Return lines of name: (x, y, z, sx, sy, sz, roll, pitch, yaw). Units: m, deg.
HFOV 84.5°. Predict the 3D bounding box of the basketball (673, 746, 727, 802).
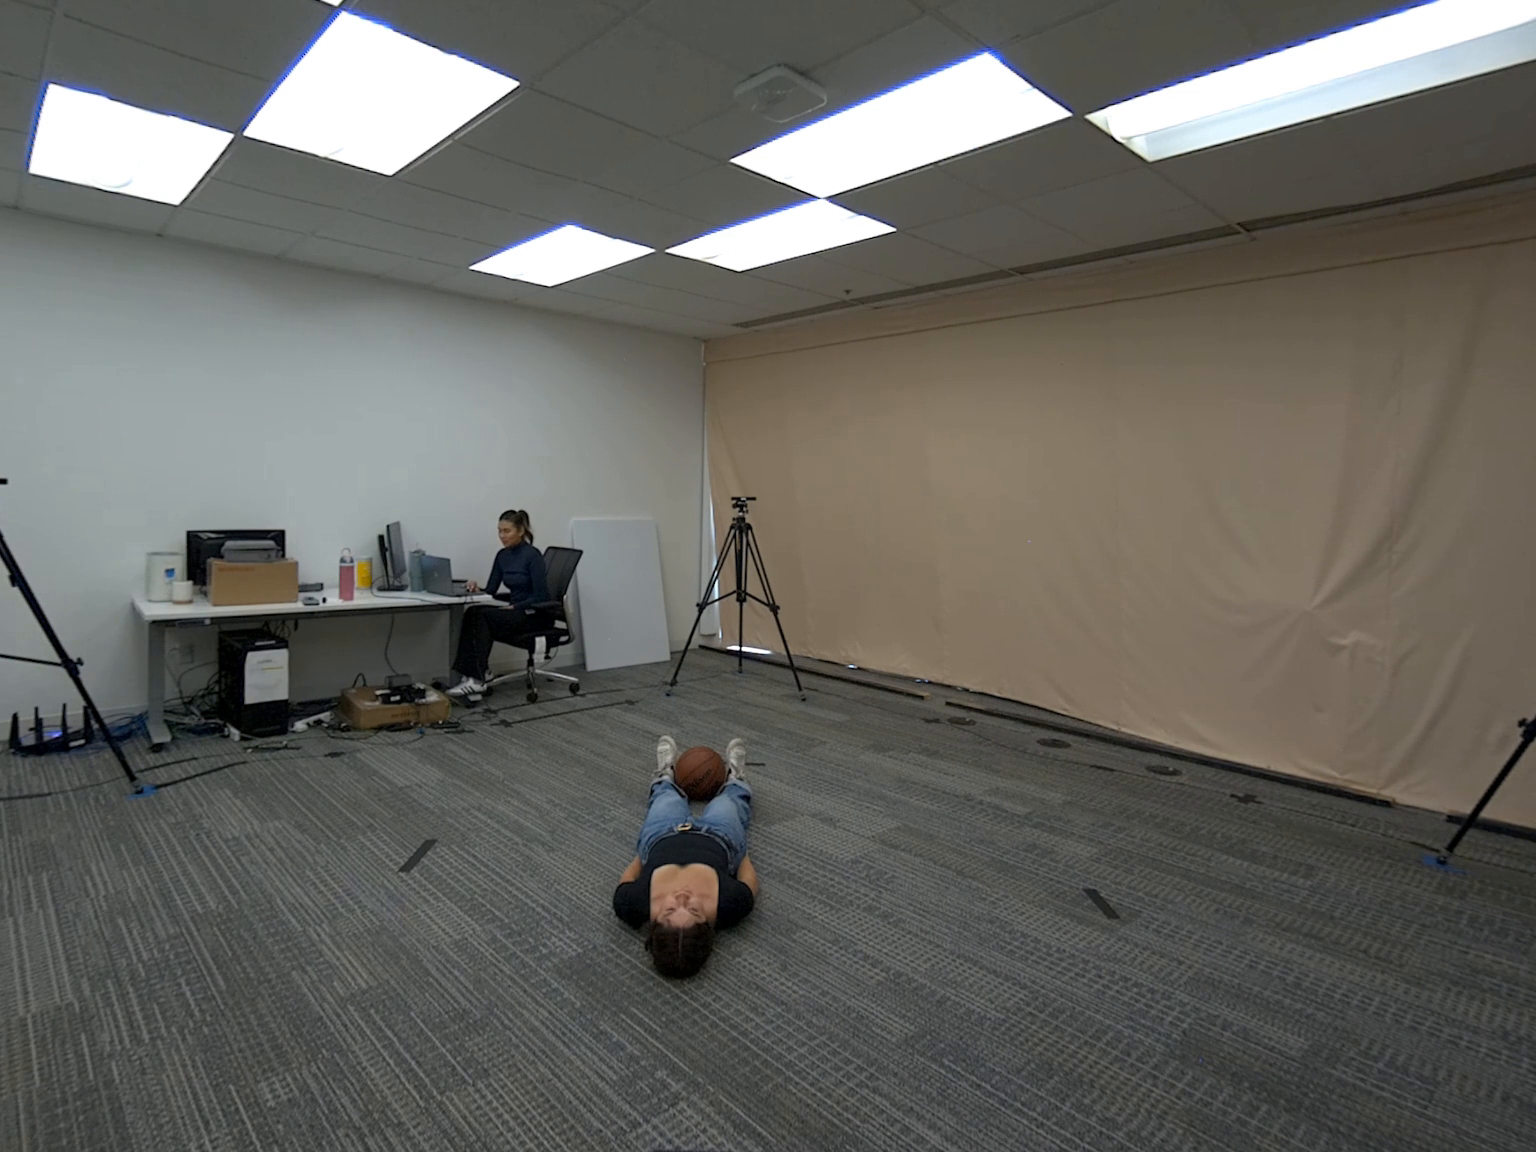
basketball: (-0.327, 0.912, 3.909, 0.236, 0.235, 0.237, 1, 4, -1)
